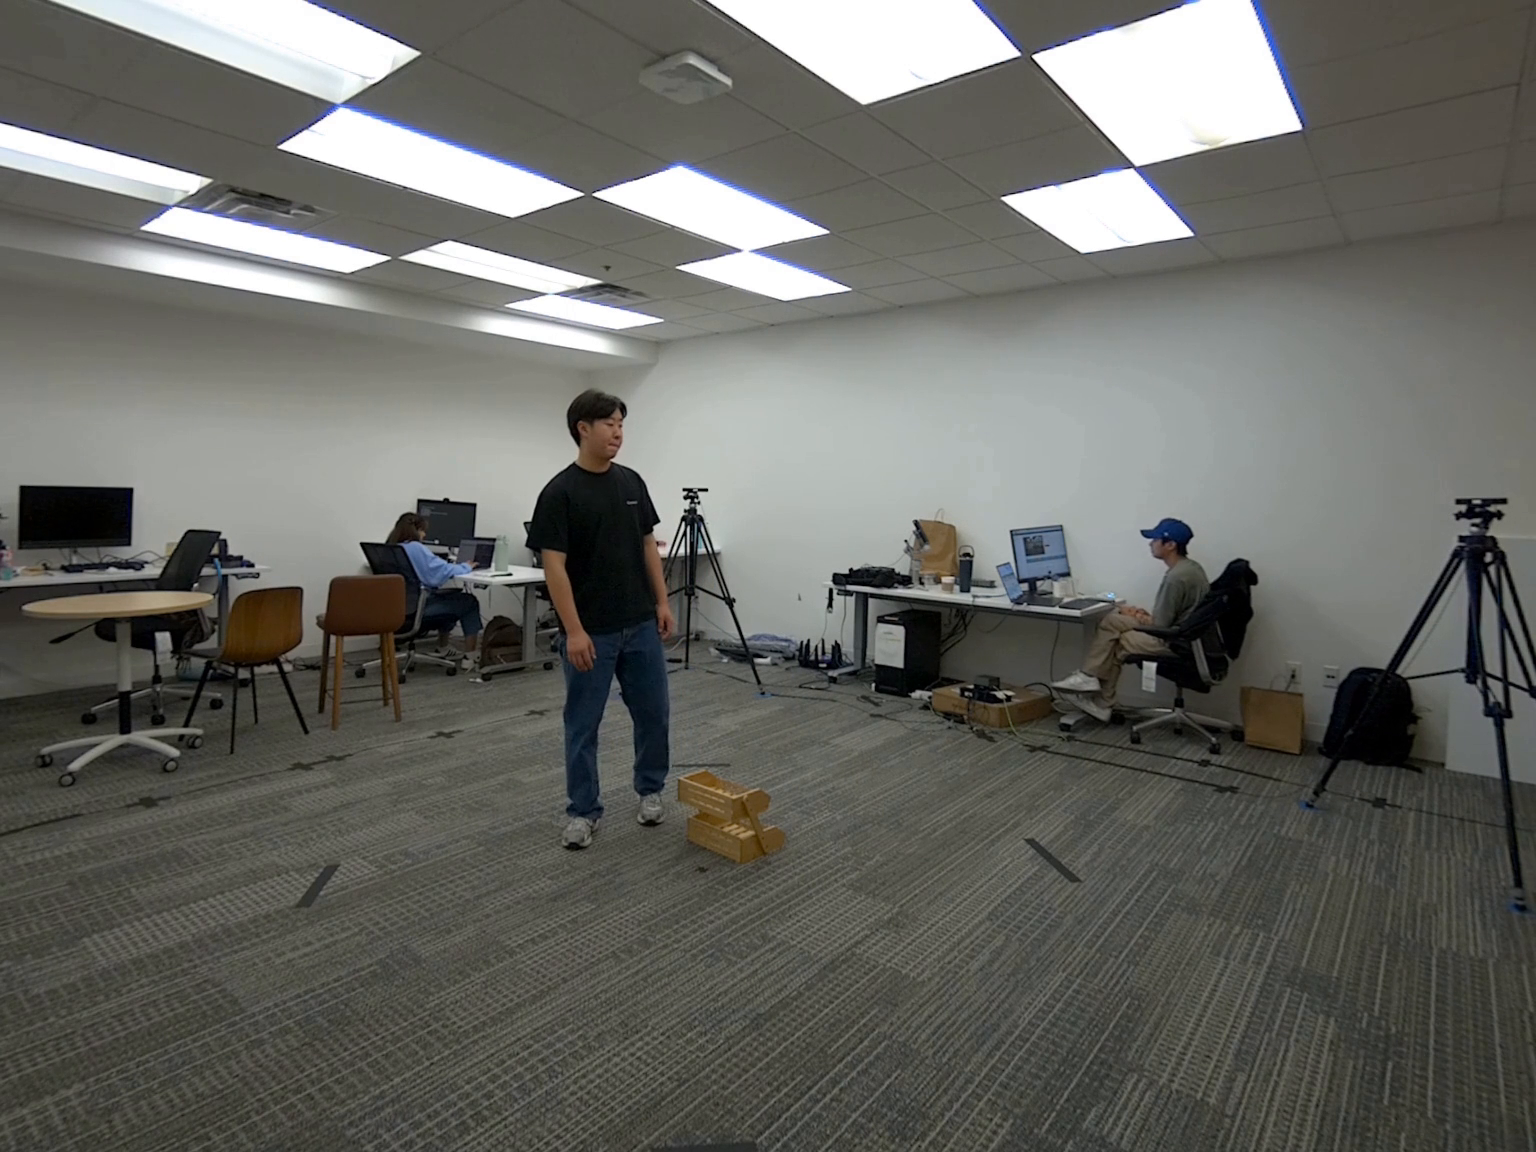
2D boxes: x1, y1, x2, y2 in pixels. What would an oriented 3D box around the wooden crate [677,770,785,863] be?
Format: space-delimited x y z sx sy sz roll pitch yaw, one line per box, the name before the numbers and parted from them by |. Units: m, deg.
wooden crate | -0.149 0.916 3.330 0.335 0.272 0.293 5 7 42
